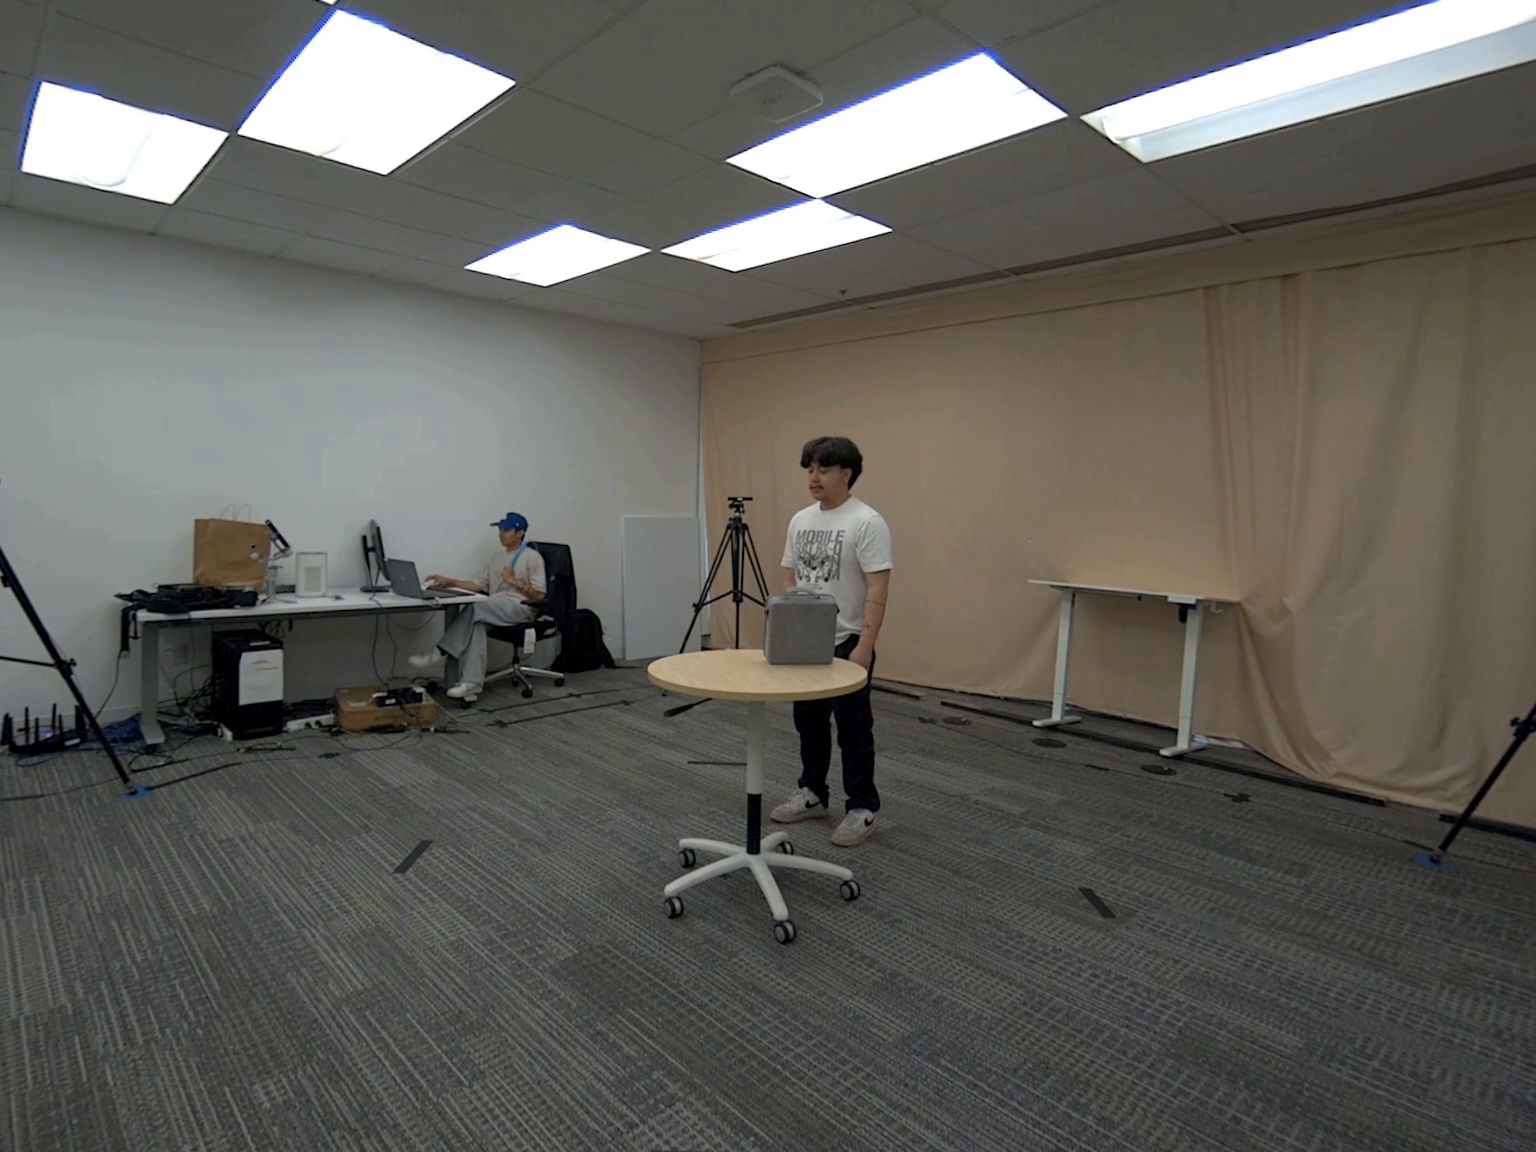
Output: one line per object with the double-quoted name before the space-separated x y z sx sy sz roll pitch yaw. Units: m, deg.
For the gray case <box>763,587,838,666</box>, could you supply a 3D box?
"gray case" 0.115 0.186 3.040 0.255 0.258 0.106 0 16 -7
